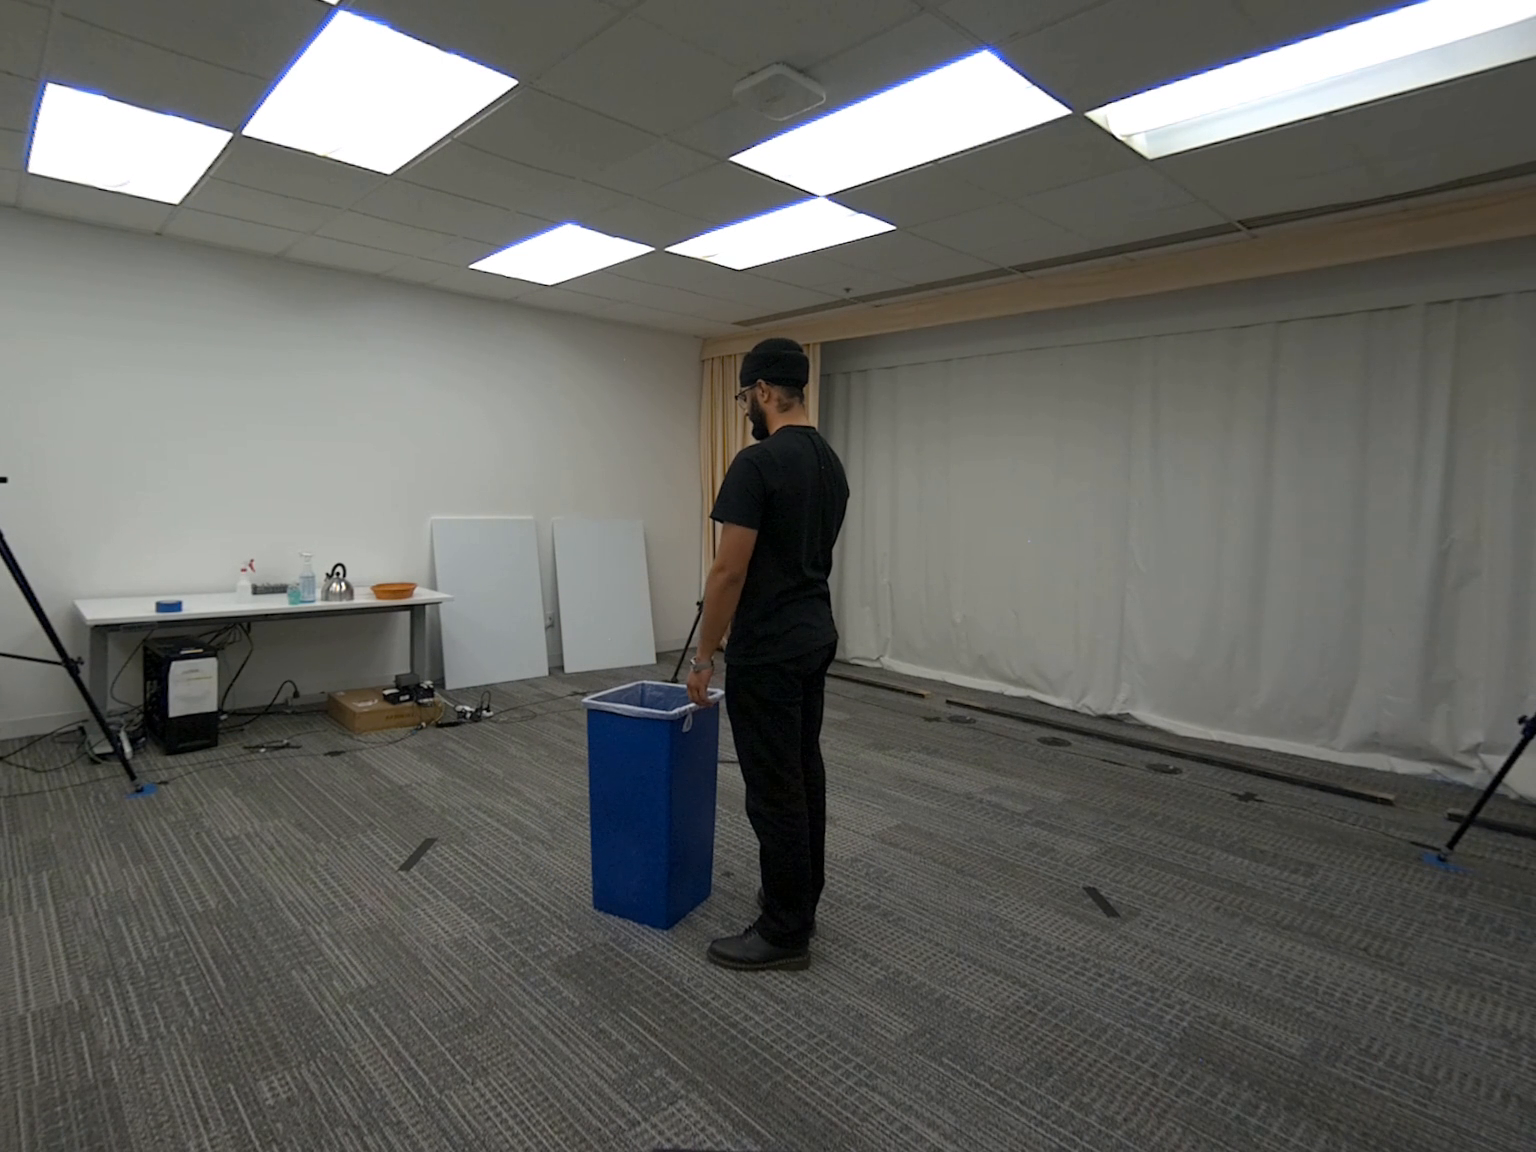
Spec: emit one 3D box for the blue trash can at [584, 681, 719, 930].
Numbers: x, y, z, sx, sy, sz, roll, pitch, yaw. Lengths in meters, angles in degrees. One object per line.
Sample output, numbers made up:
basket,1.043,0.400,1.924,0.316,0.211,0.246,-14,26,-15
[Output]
blue trash can,-0.388,0.761,2.875,0.381,0.712,0.371,2,3,27
